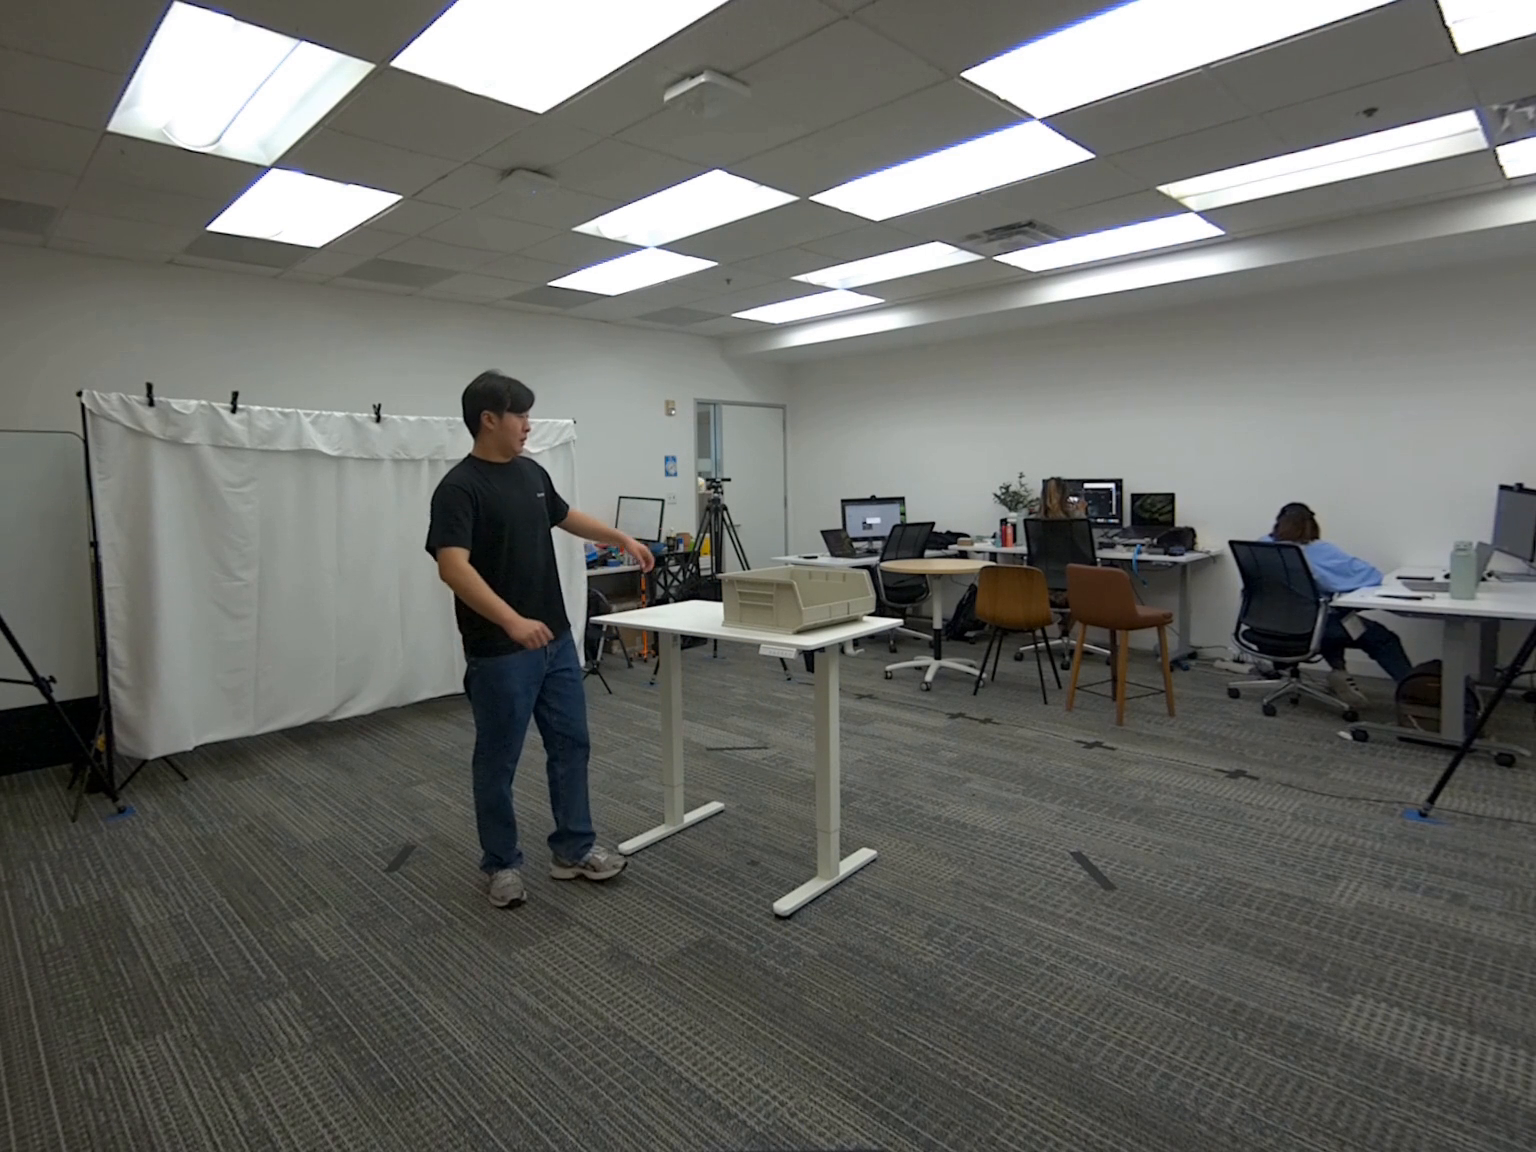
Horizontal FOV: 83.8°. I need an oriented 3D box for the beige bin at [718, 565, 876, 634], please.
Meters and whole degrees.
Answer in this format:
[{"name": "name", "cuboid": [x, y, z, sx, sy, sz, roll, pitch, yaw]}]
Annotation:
[{"name": "beige bin", "cuboid": [0.104, 0.080, 2.992, 0.388, 0.188, 0.411, 2, 6, 43]}]
